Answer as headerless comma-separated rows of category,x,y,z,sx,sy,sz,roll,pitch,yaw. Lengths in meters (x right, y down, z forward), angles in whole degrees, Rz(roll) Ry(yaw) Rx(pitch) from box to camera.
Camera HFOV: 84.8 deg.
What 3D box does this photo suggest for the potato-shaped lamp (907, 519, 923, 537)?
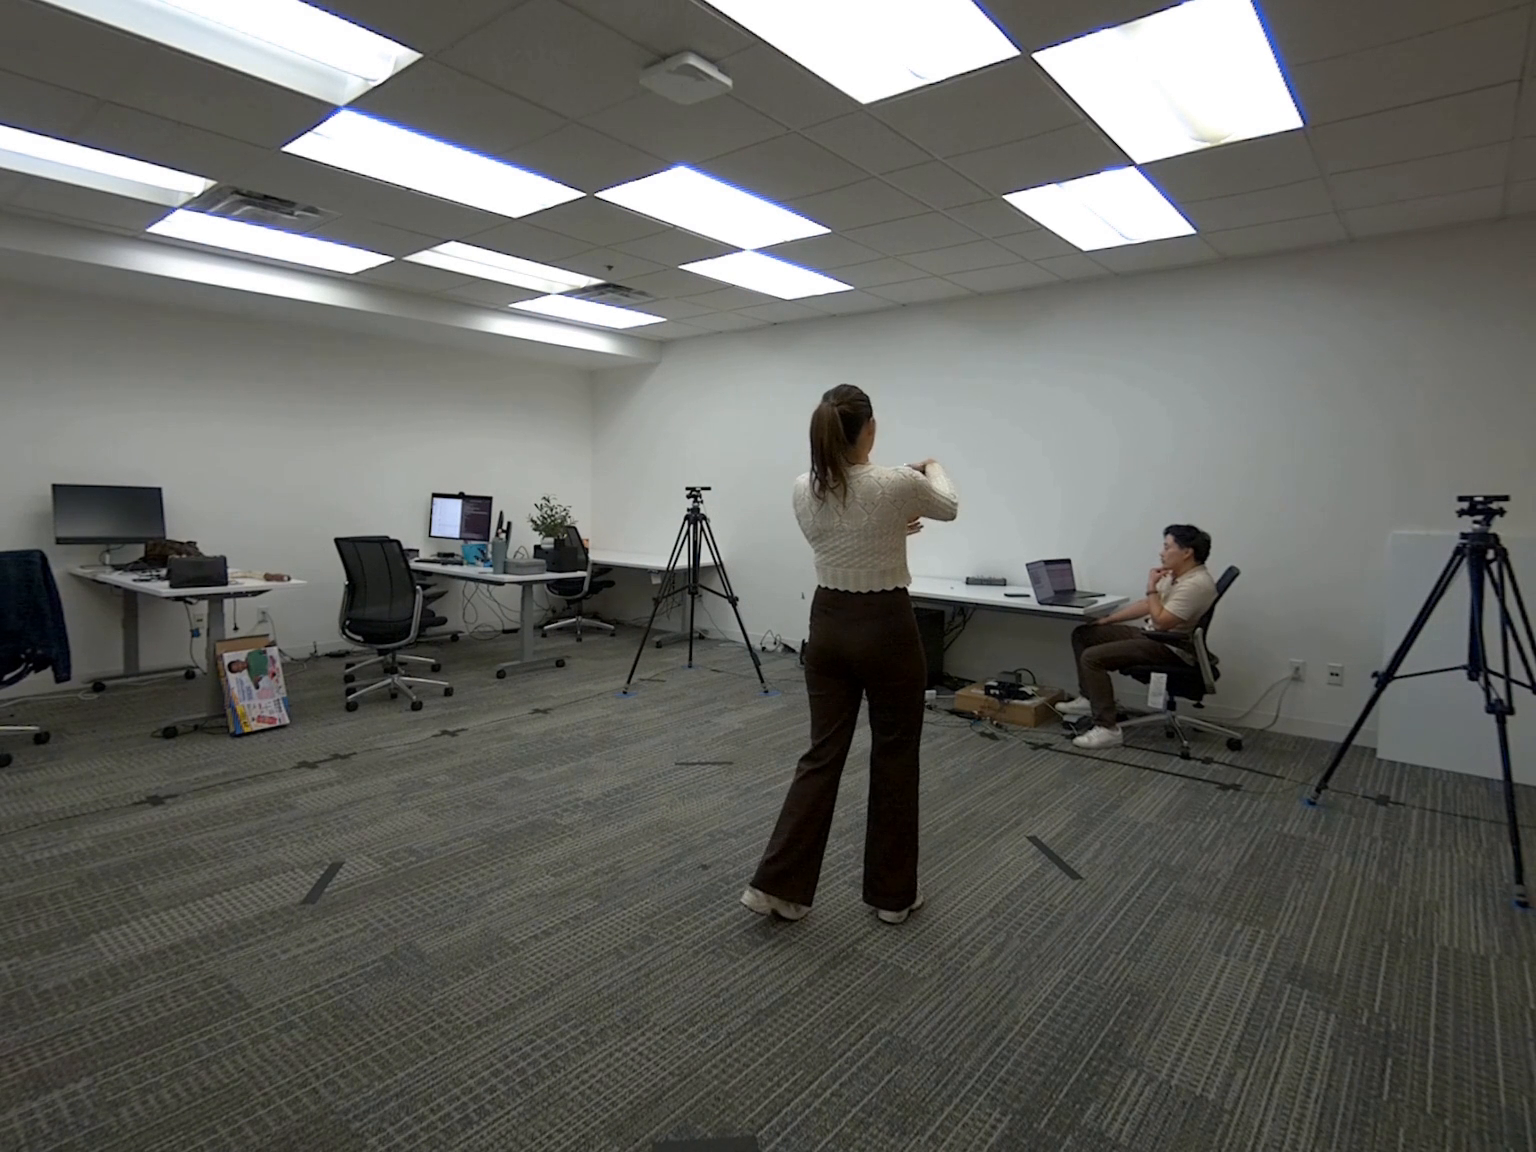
potato-shaped lamp,0.516,-0.281,3.091,0.163,0.197,0.174,29,17,-10
